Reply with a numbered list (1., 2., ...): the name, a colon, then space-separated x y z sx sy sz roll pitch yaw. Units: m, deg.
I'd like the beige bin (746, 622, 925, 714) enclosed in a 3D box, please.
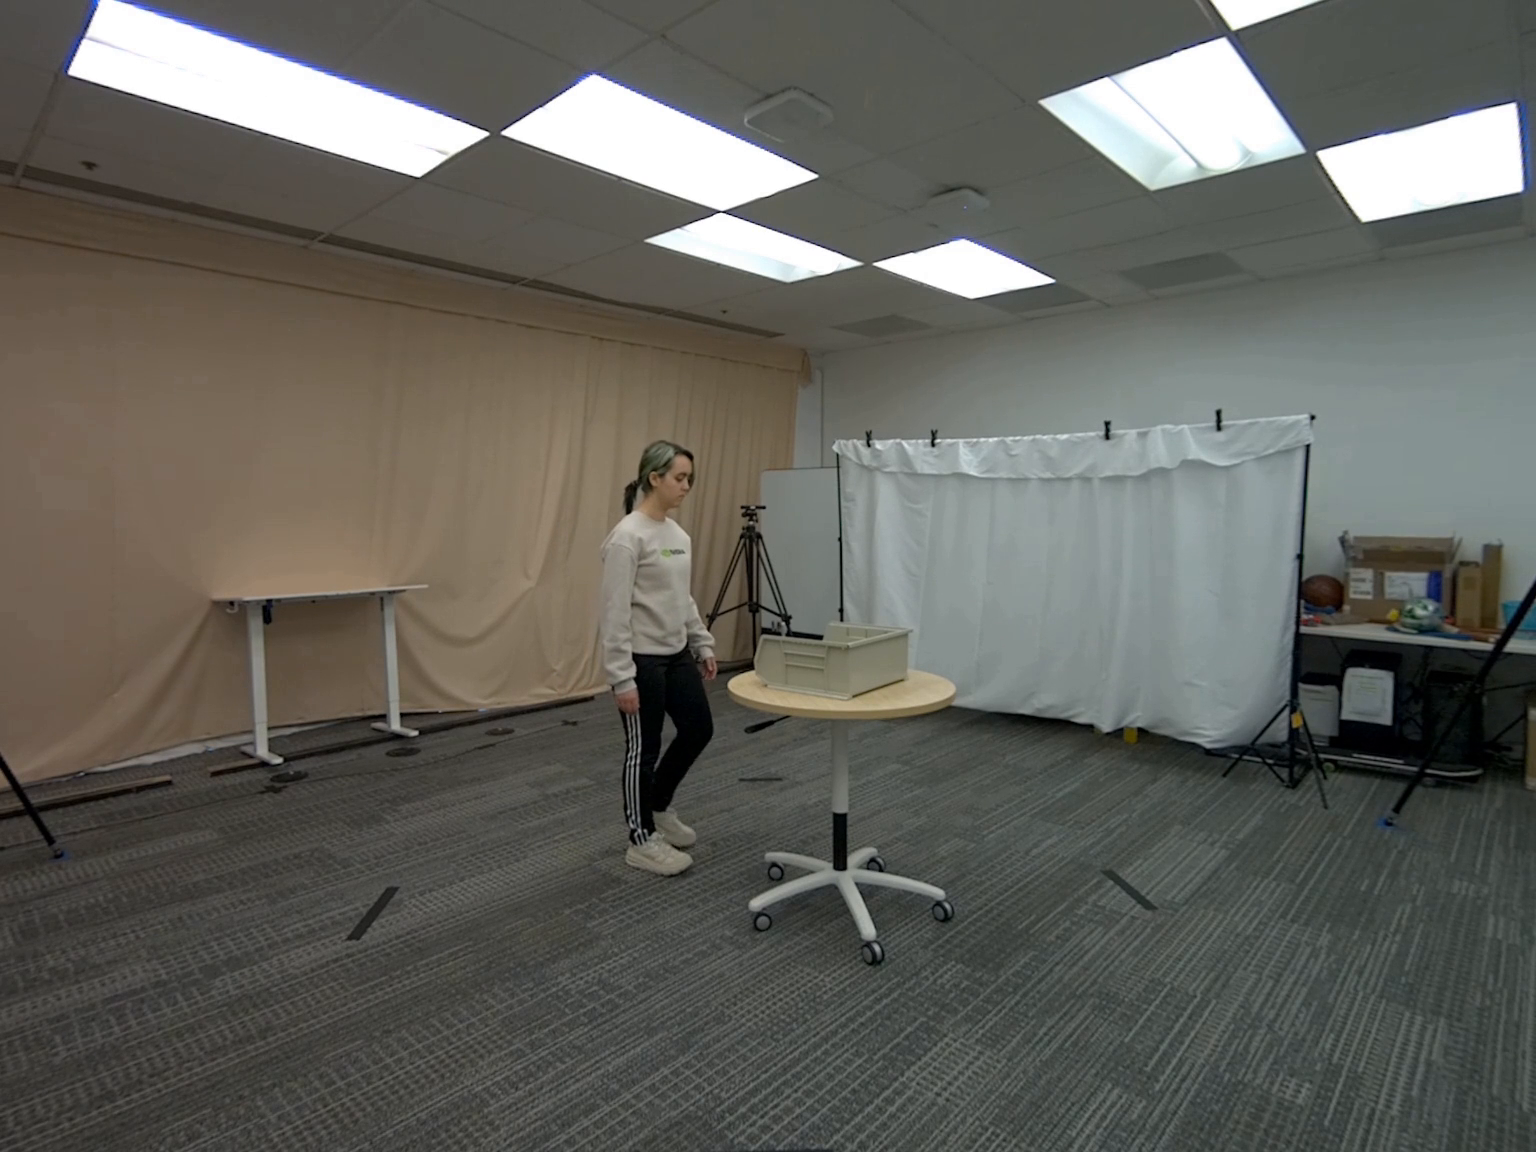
1. beige bin: 0.233 0.280 2.887 0.390 0.188 0.410 4 6 39
